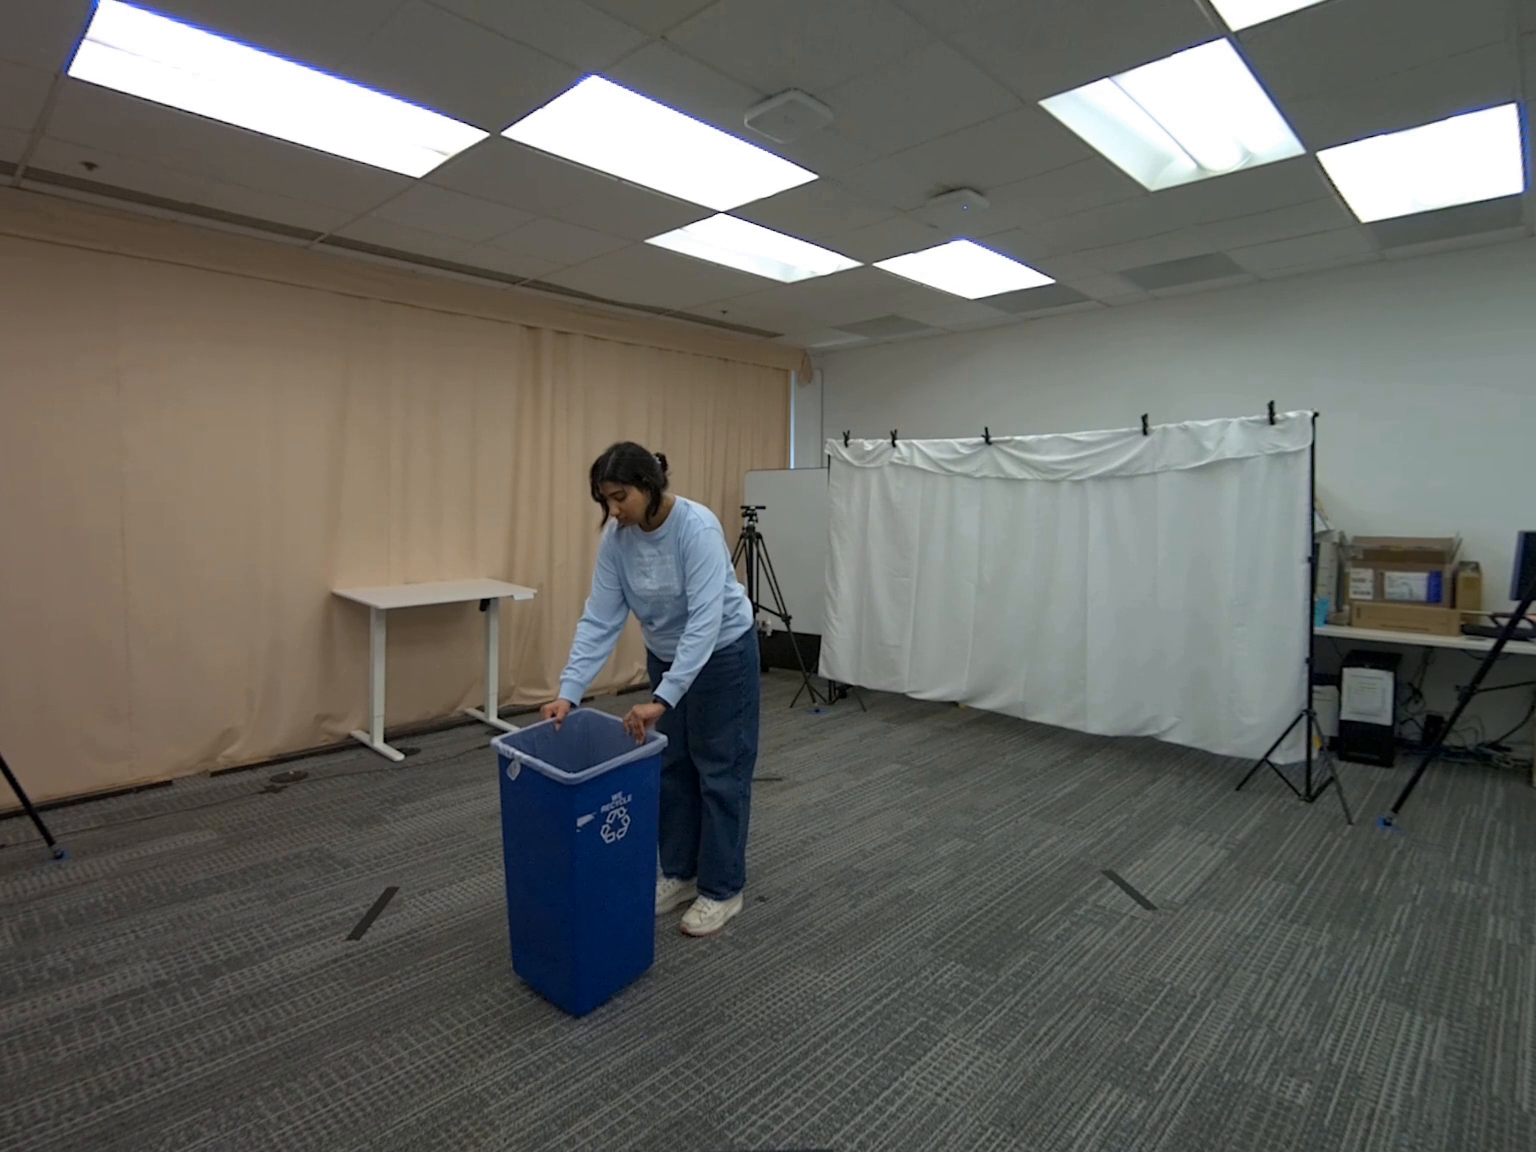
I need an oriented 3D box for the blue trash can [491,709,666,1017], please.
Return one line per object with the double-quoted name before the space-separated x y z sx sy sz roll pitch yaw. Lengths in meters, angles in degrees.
"blue trash can" -0.534 0.804 2.419 0.391 0.709 0.364 9 13 37
